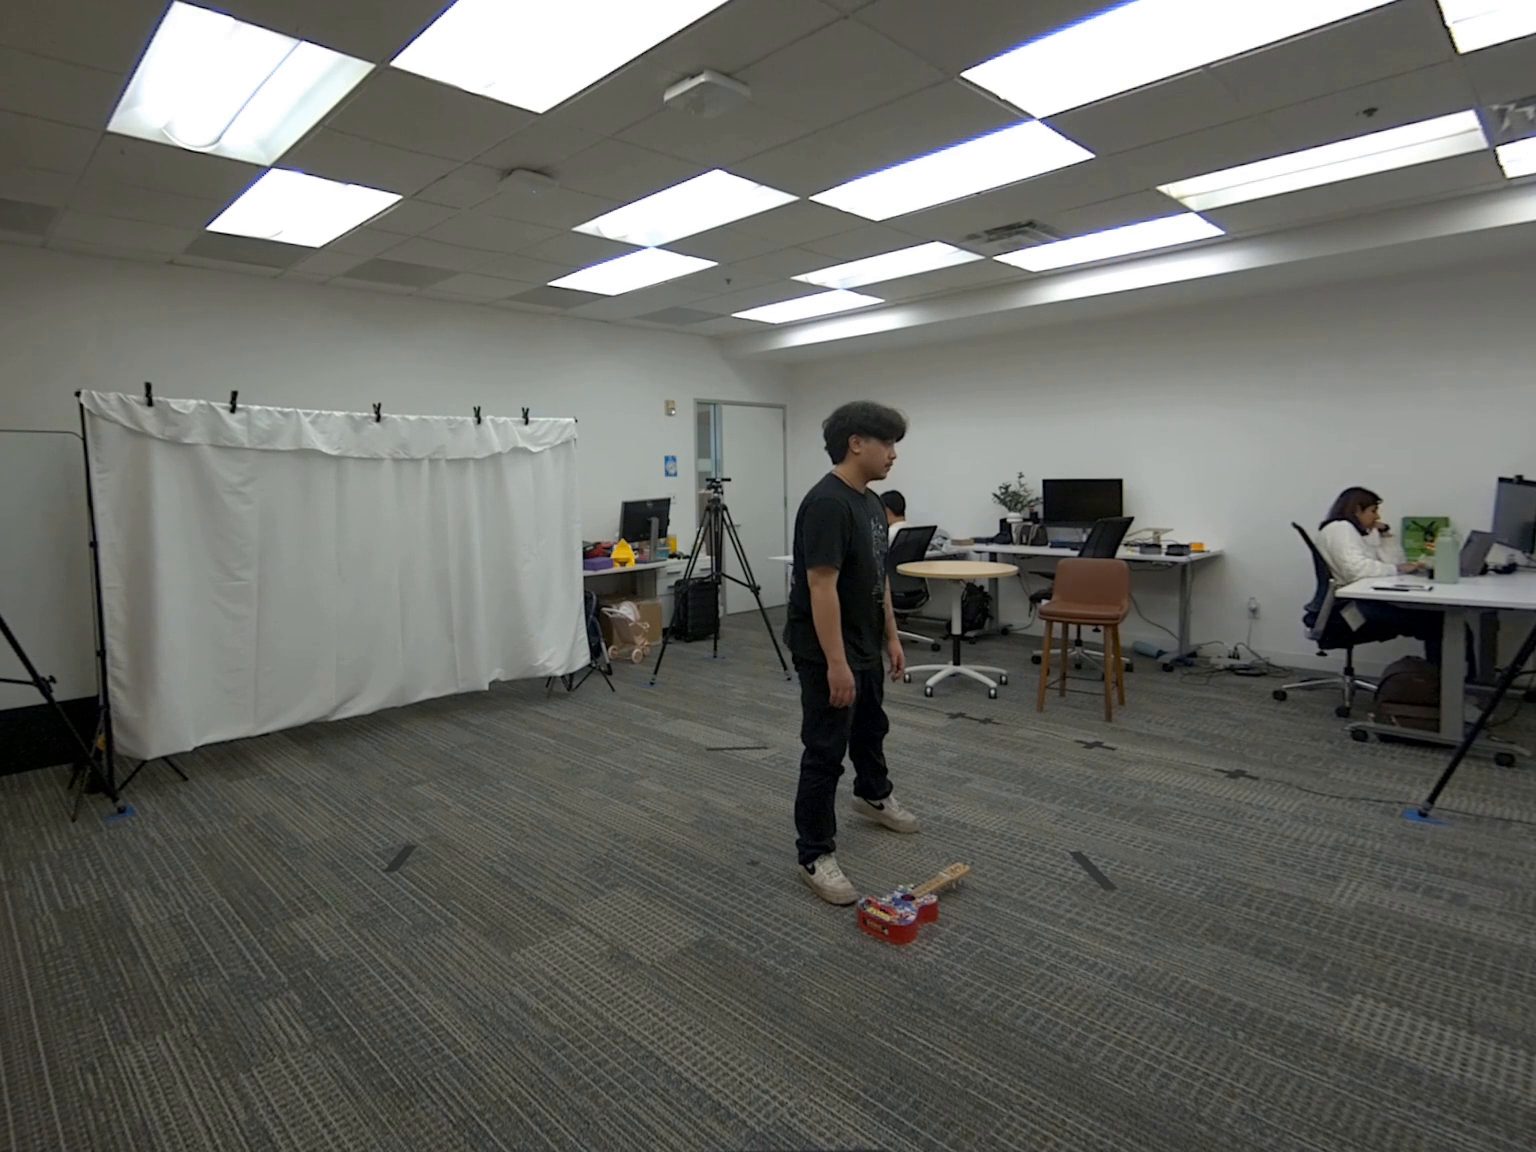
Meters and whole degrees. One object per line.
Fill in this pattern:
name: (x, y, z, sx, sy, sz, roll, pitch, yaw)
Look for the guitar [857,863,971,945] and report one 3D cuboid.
guitar: (0.512, 1.039, 2.727, 0.486, 0.070, 0.199, -6, 8, -34)
